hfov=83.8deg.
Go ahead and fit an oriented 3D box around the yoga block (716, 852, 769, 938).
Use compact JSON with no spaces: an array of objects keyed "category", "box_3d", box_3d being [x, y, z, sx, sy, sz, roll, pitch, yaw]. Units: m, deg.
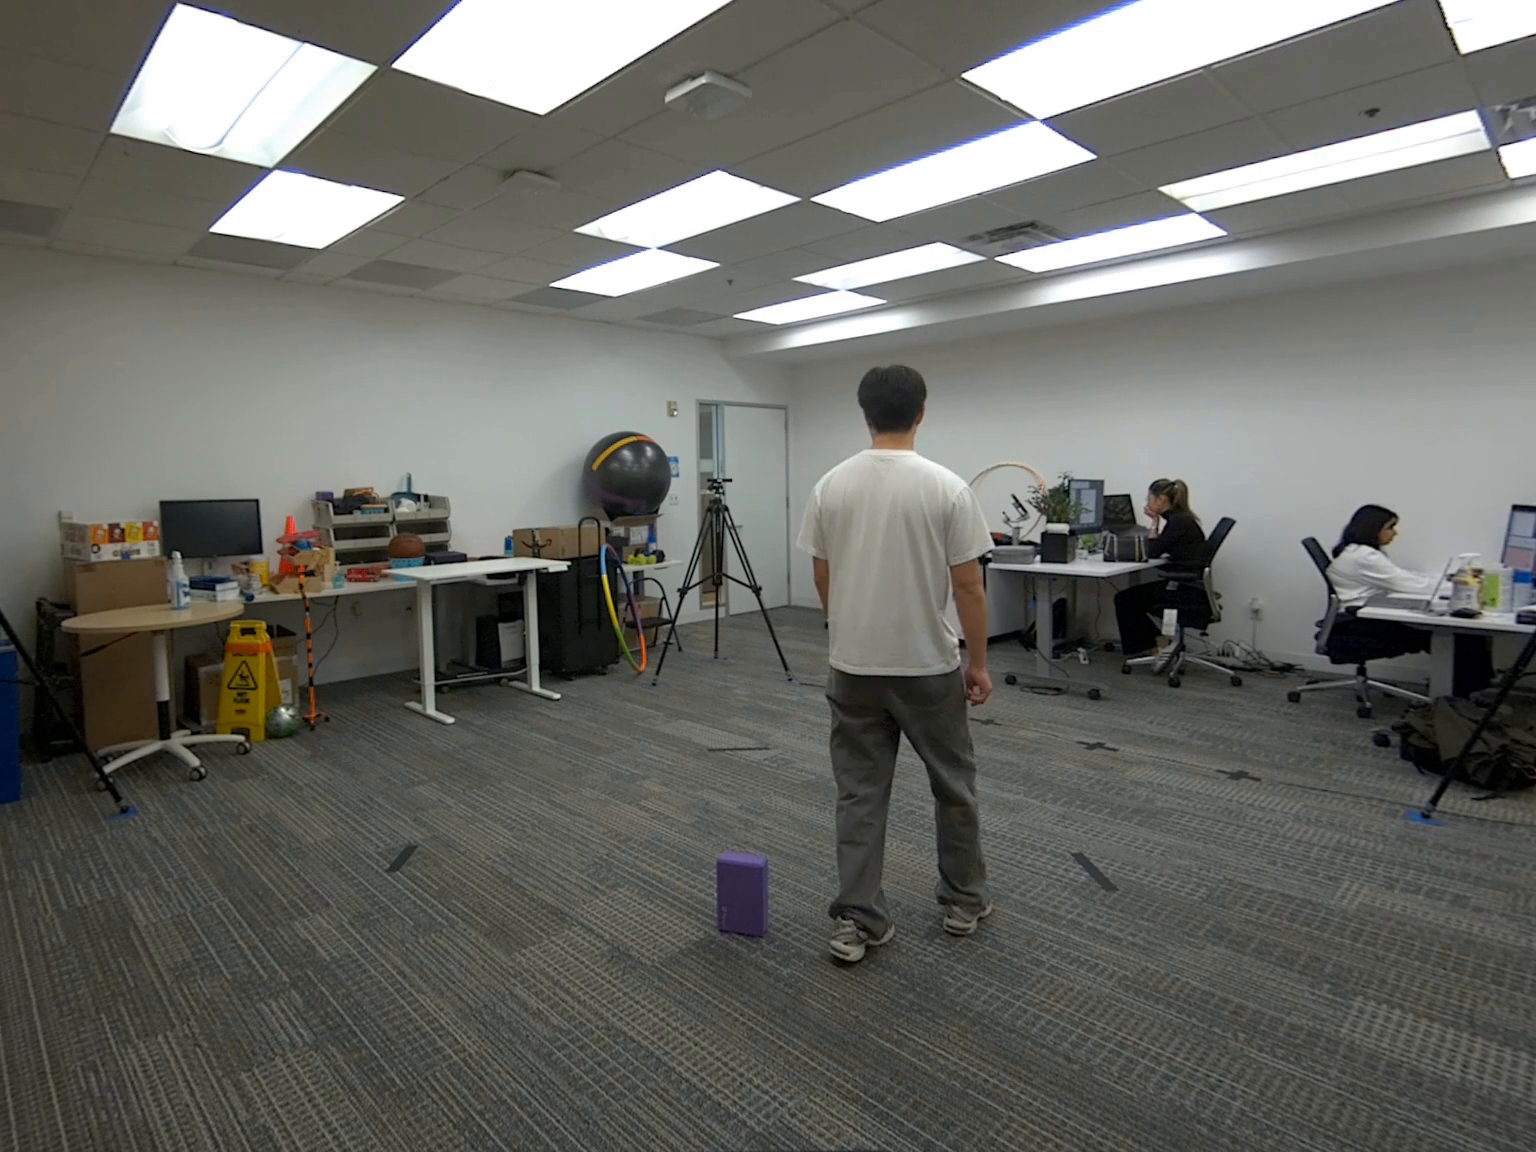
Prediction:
[{"category":"yoga block","box_3d":[-0.069,0.989,2.649,0.151,0.228,0.075,0,5,16]}]
